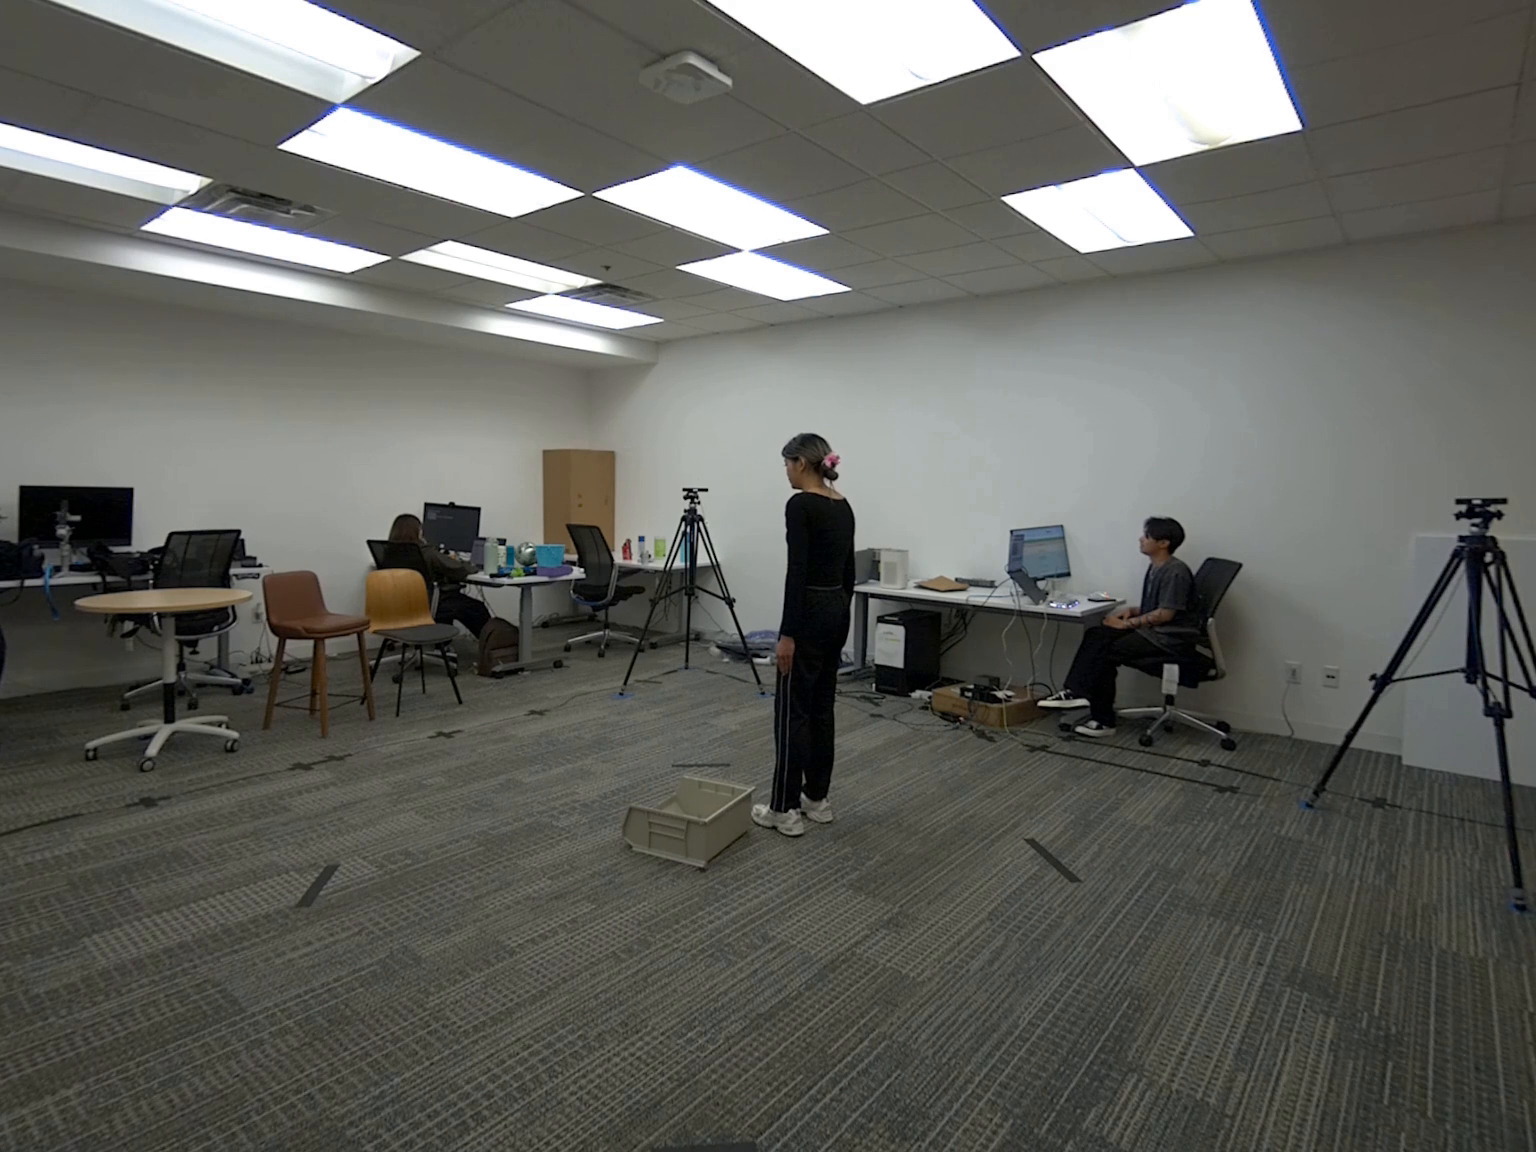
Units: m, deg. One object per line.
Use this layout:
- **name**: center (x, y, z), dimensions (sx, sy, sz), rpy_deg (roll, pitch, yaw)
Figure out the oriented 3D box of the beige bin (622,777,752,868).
- **beige bin**: center (-0.318, 0.957, 3.375), dimensions (0.388, 0.188, 0.412), rpy_deg (4, 5, 26)
